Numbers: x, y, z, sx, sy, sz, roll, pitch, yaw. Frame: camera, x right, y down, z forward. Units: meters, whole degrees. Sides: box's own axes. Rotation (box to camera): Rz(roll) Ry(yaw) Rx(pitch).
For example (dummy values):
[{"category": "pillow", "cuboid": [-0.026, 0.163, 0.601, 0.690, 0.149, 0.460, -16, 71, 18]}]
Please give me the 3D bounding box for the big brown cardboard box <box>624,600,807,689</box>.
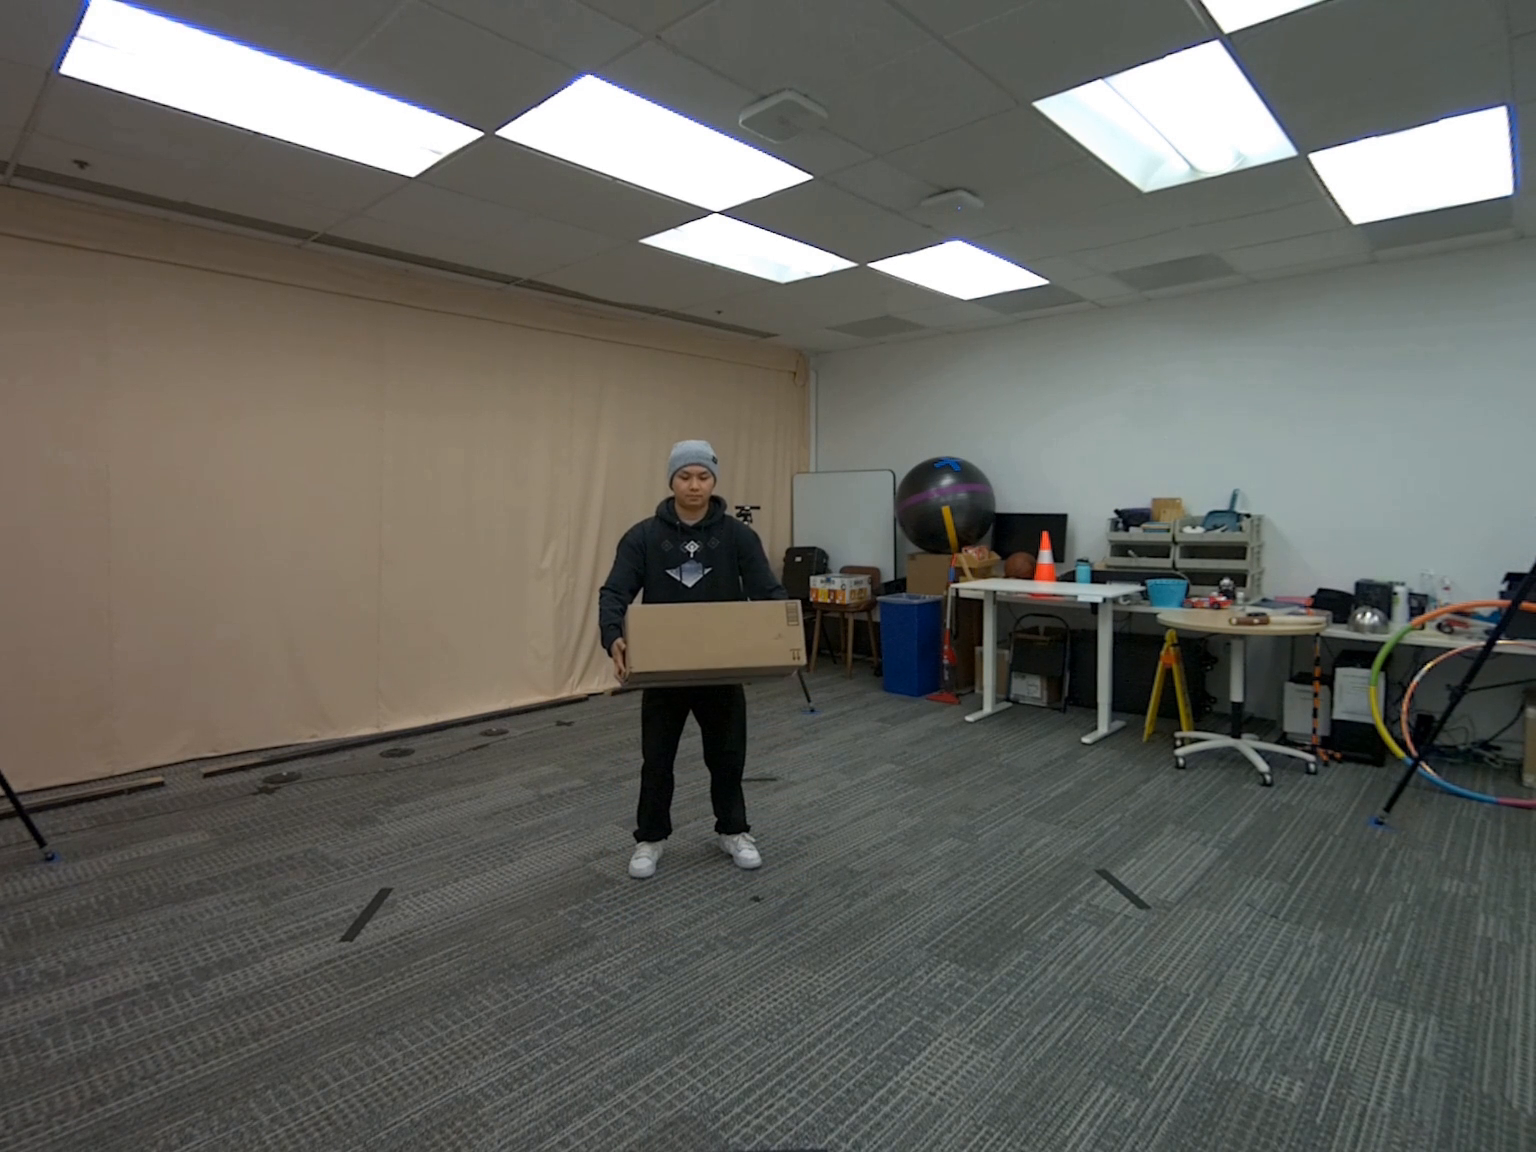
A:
[{"category": "big brown cardboard box", "cuboid": [-0.200, 0.239, 2.869, 0.583, 0.235, 0.417, -2, -14, -9]}]
